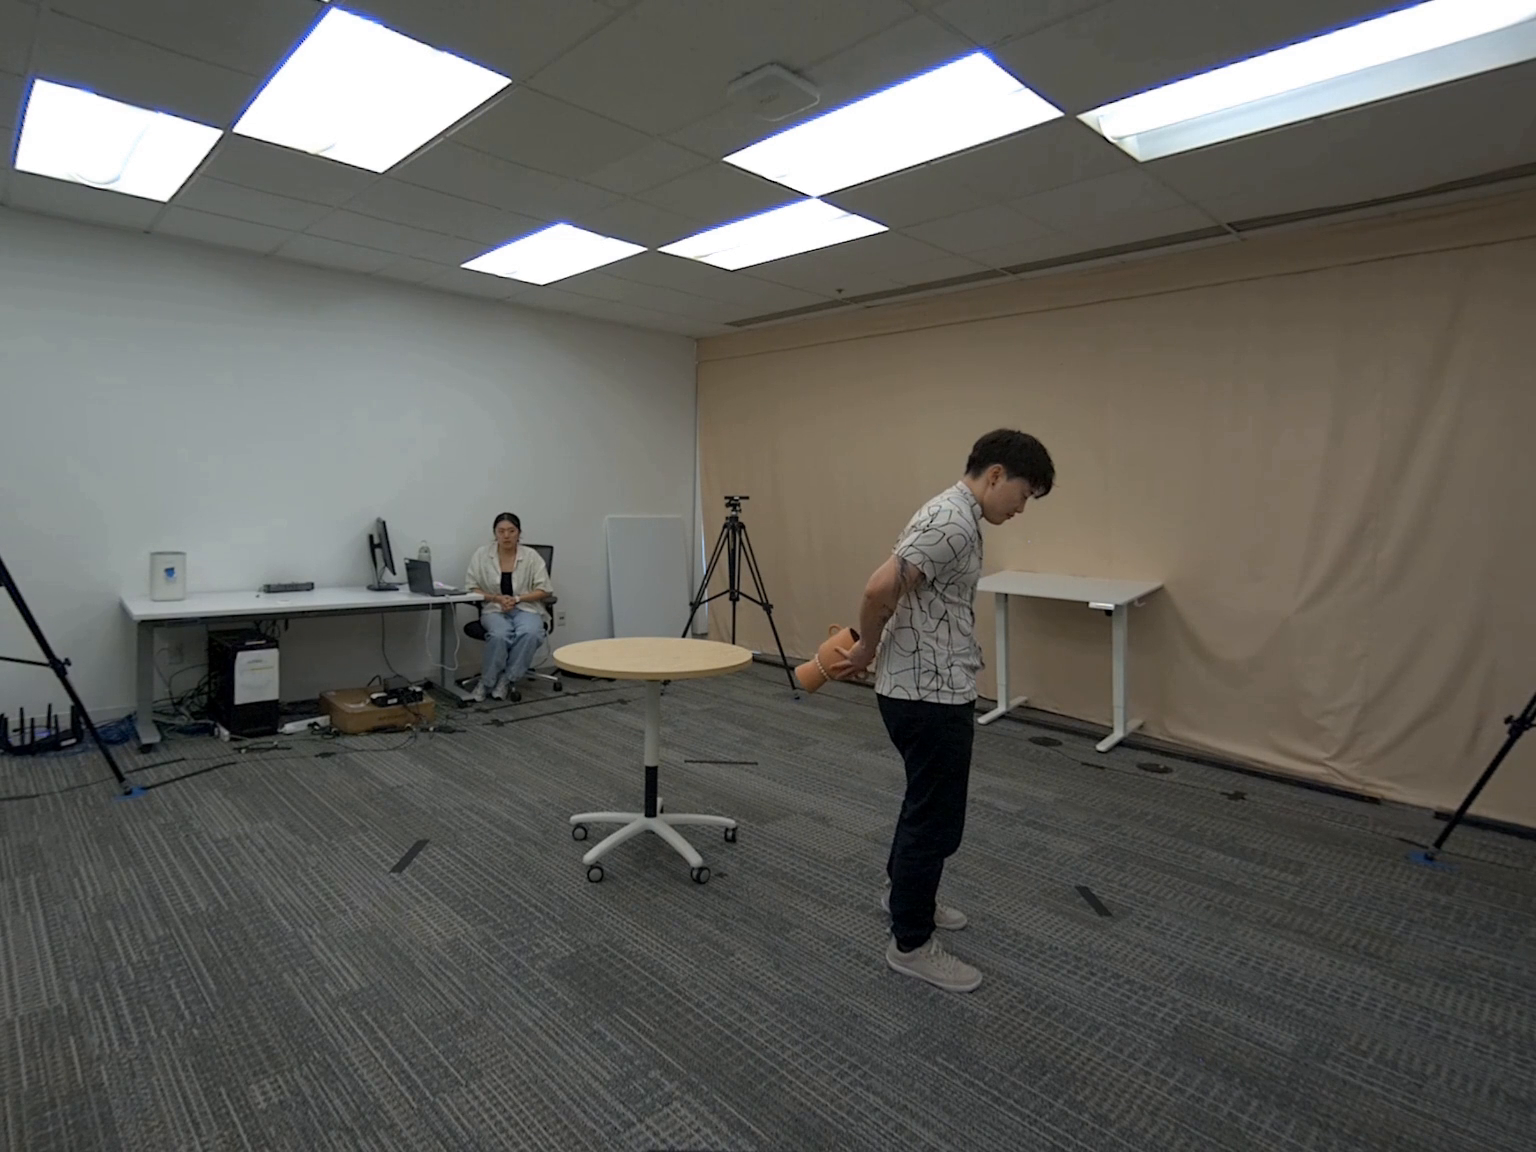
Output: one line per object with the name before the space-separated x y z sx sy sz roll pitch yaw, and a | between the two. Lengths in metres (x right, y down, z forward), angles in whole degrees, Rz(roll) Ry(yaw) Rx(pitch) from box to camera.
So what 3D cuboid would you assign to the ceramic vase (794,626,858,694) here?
ceramic vase | 0.199 0.273 2.607 0.220 0.131 0.163 -34 35 15
